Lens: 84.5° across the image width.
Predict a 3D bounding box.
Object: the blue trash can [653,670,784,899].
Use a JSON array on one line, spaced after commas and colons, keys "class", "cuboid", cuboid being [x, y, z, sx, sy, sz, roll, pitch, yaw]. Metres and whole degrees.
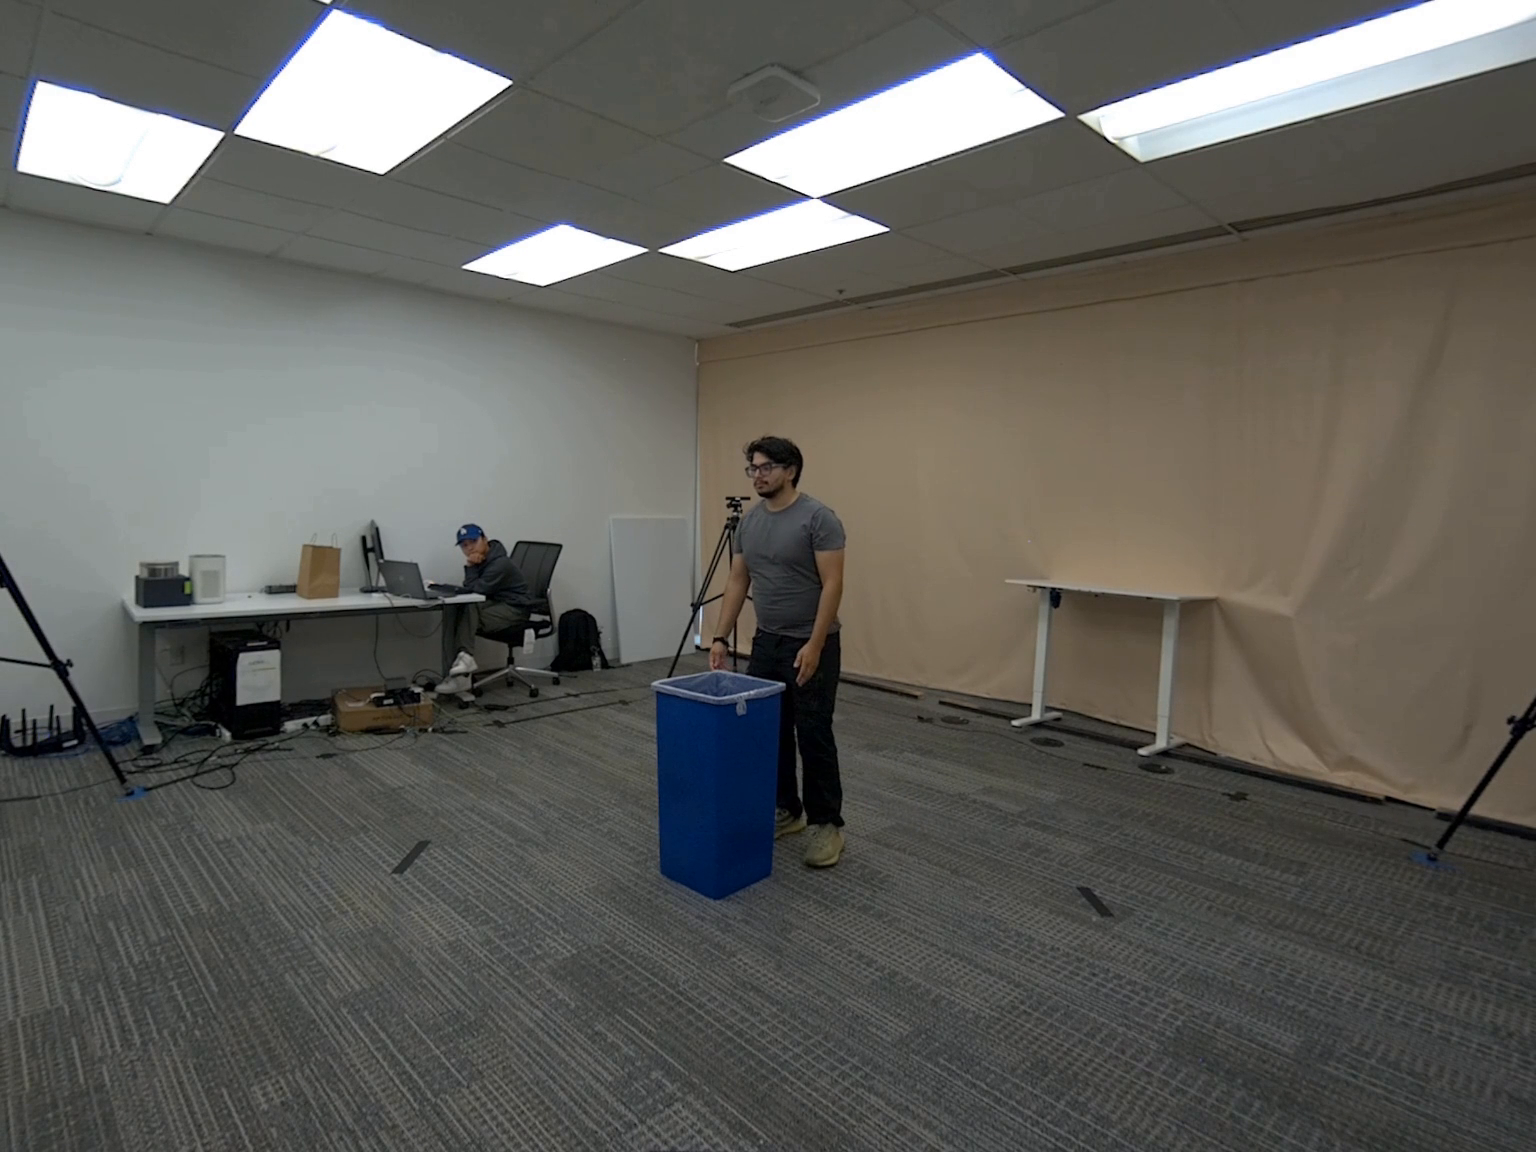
[{"class": "blue trash can", "cuboid": [-0.202, 0.748, 3.101, 0.383, 0.712, 0.369, 4, 4, 41]}]
